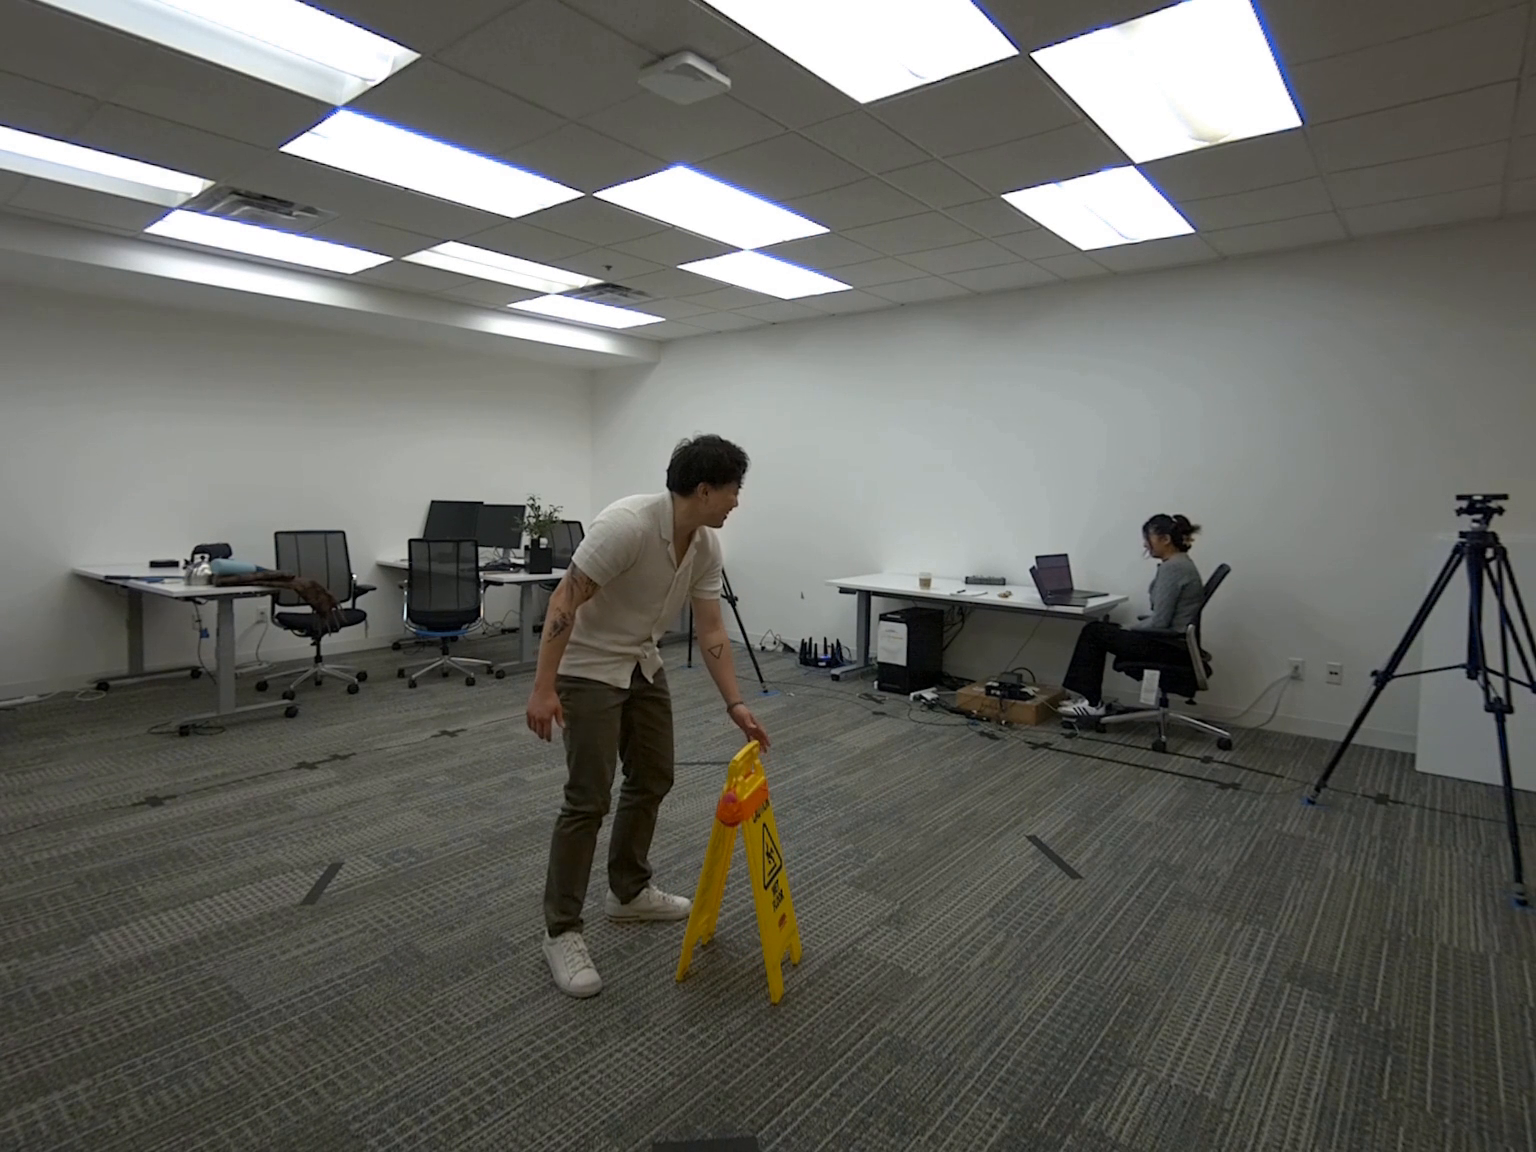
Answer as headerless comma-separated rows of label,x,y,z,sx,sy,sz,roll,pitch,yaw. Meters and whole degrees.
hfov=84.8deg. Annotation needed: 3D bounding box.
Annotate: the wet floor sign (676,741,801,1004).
wet floor sign,-0.075,0.813,2.445,0.296,0.643,0.278,3,5,18
